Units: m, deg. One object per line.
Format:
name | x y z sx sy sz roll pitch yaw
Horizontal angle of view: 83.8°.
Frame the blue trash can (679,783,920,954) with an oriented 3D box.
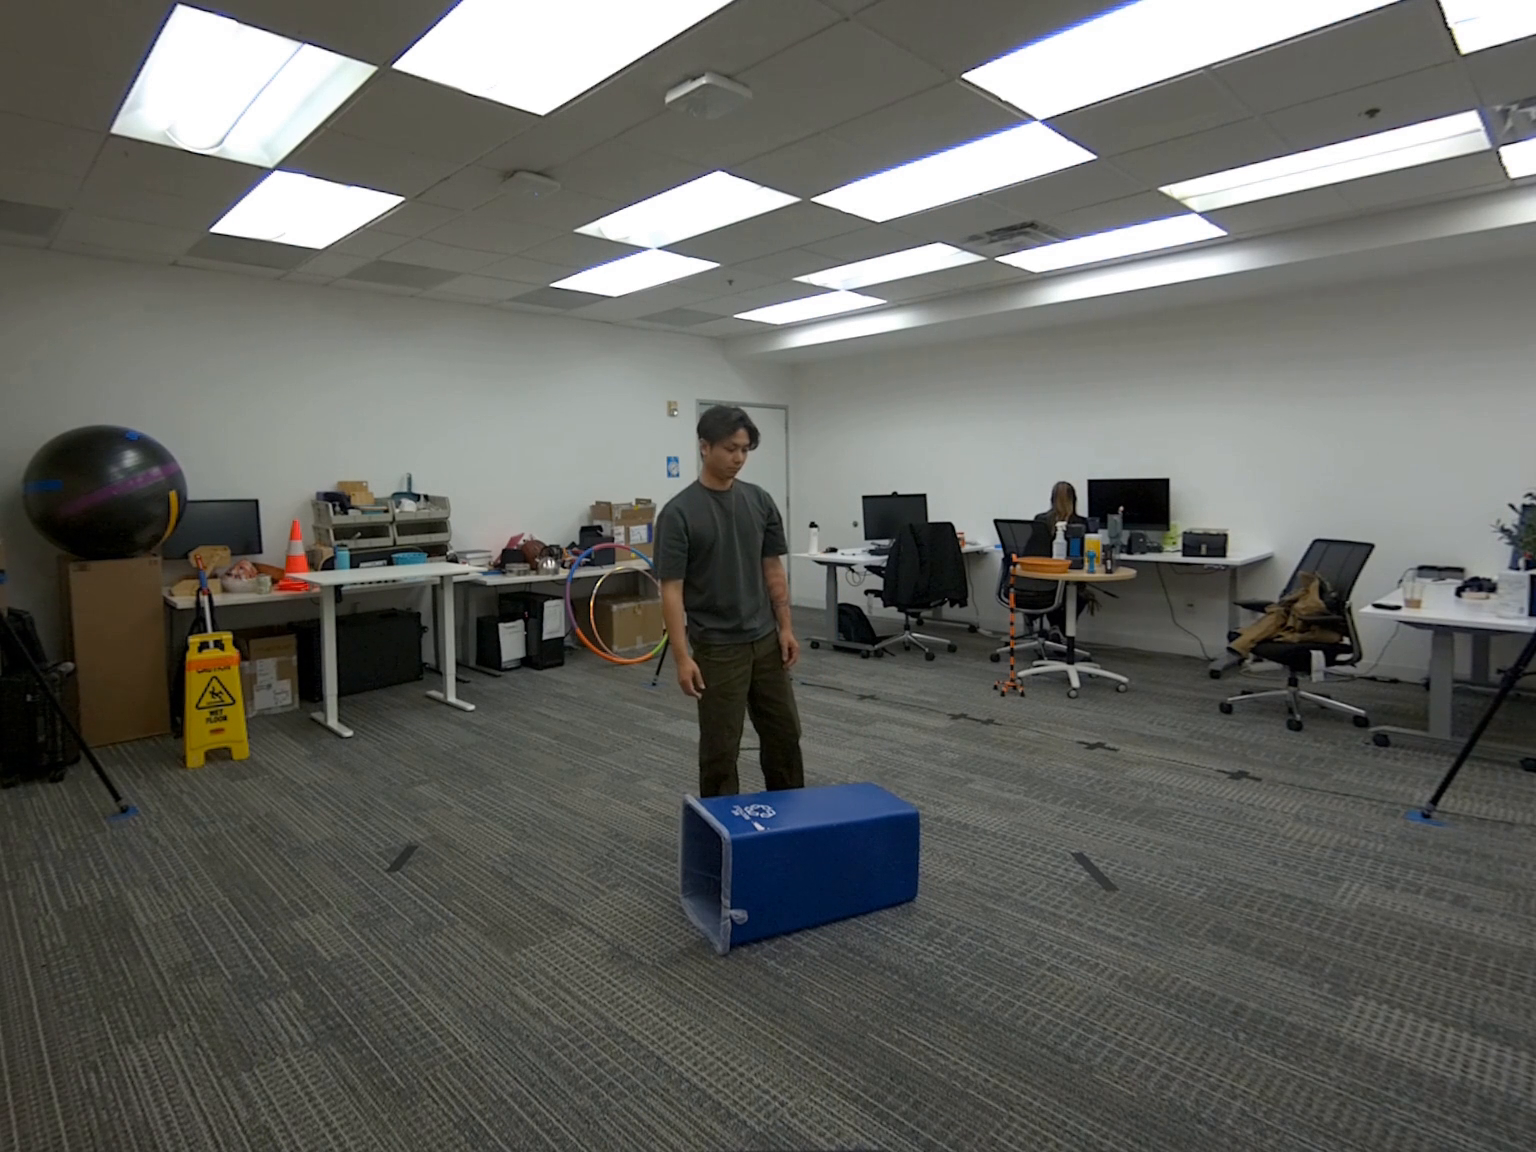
blue trash can | 0.113 0.915 2.791 0.699 0.373 0.387 -1 4 -24
